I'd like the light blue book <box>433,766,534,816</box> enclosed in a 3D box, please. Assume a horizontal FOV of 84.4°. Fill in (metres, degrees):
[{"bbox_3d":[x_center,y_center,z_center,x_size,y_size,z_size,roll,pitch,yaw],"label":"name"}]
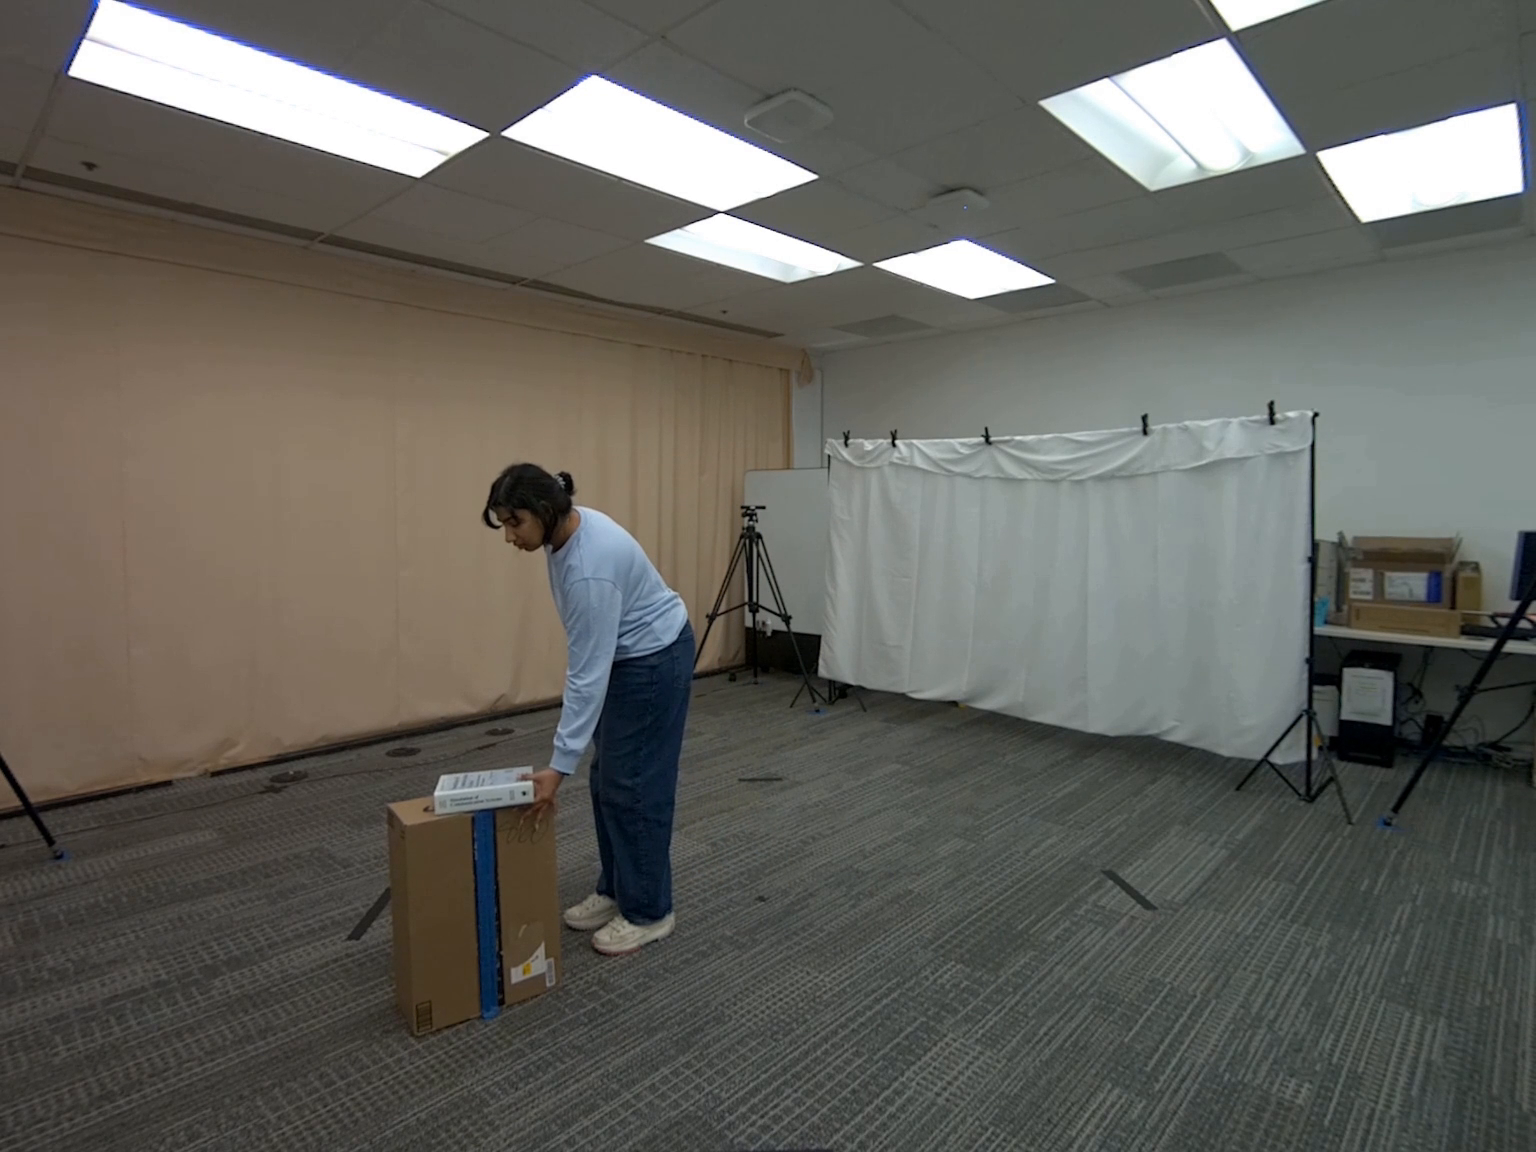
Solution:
[{"bbox_3d":[-0.799,0.606,2.373,0.257,0.059,0.194,-4,3,-14],"label":"light blue book"}]
